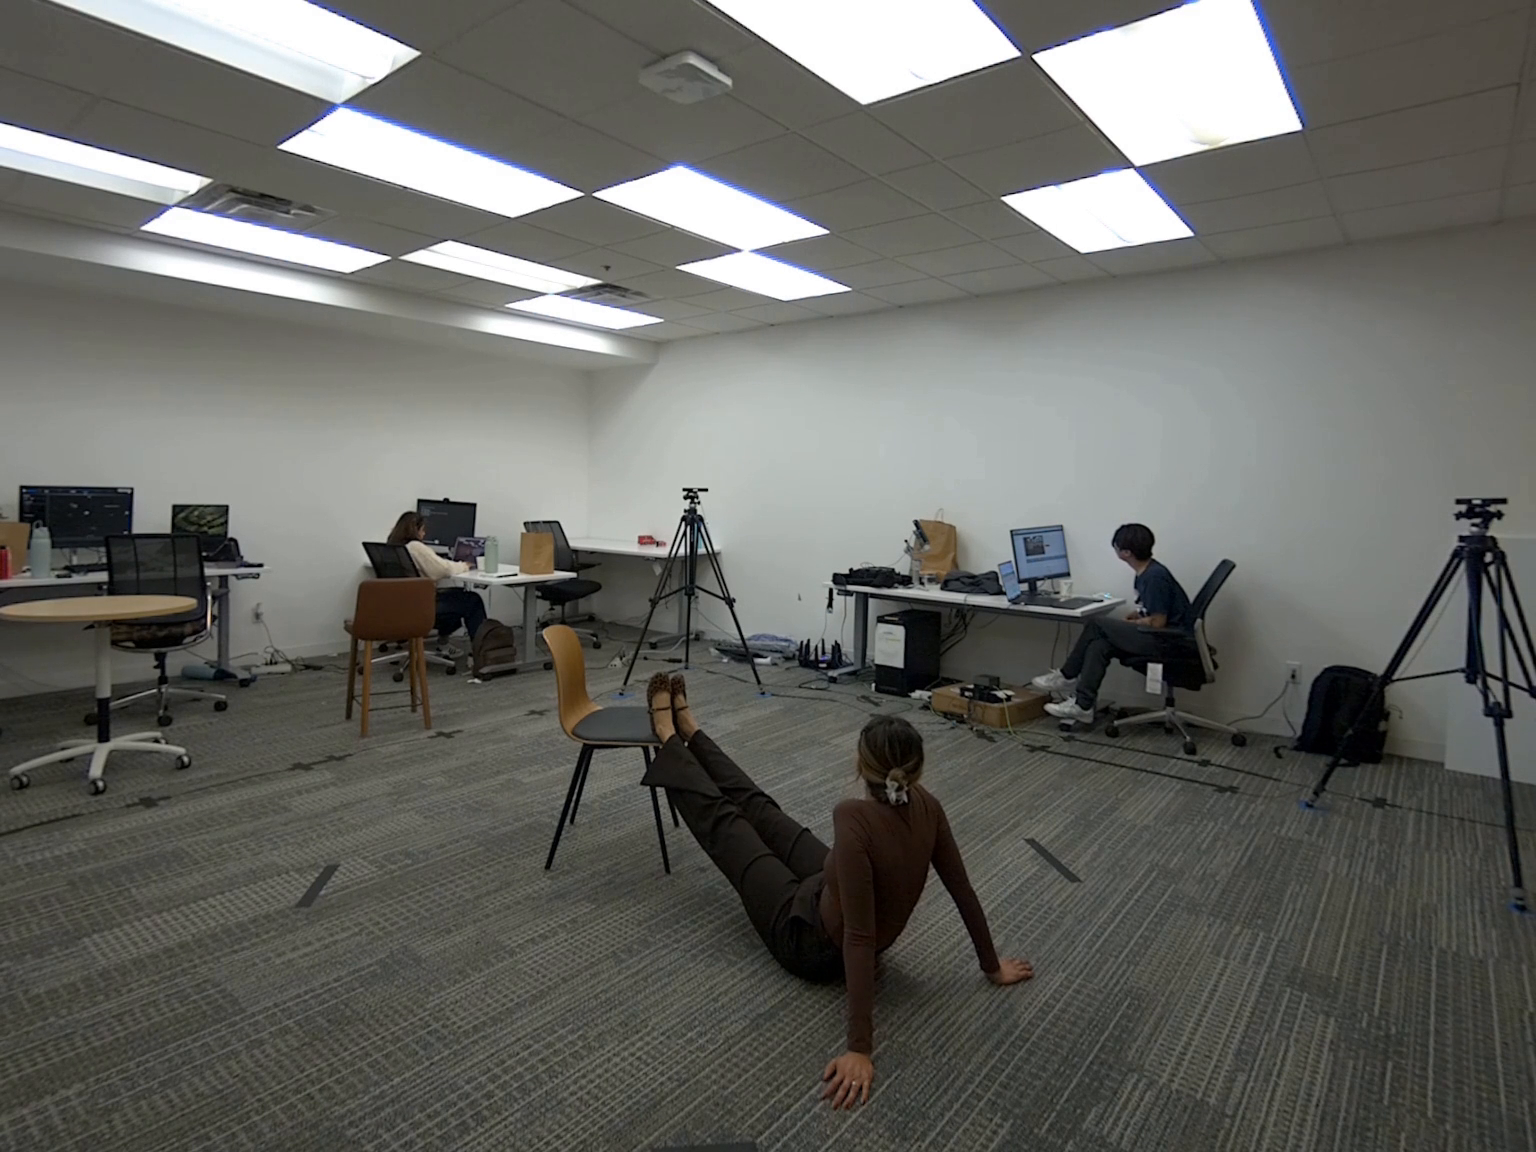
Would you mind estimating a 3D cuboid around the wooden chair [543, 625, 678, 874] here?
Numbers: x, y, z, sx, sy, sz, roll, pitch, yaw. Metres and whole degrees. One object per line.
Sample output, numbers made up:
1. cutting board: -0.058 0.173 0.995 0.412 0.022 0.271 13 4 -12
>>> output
1. wooden chair: -0.585 0.621 3.267 0.524 0.875 0.479 -3 3 1
